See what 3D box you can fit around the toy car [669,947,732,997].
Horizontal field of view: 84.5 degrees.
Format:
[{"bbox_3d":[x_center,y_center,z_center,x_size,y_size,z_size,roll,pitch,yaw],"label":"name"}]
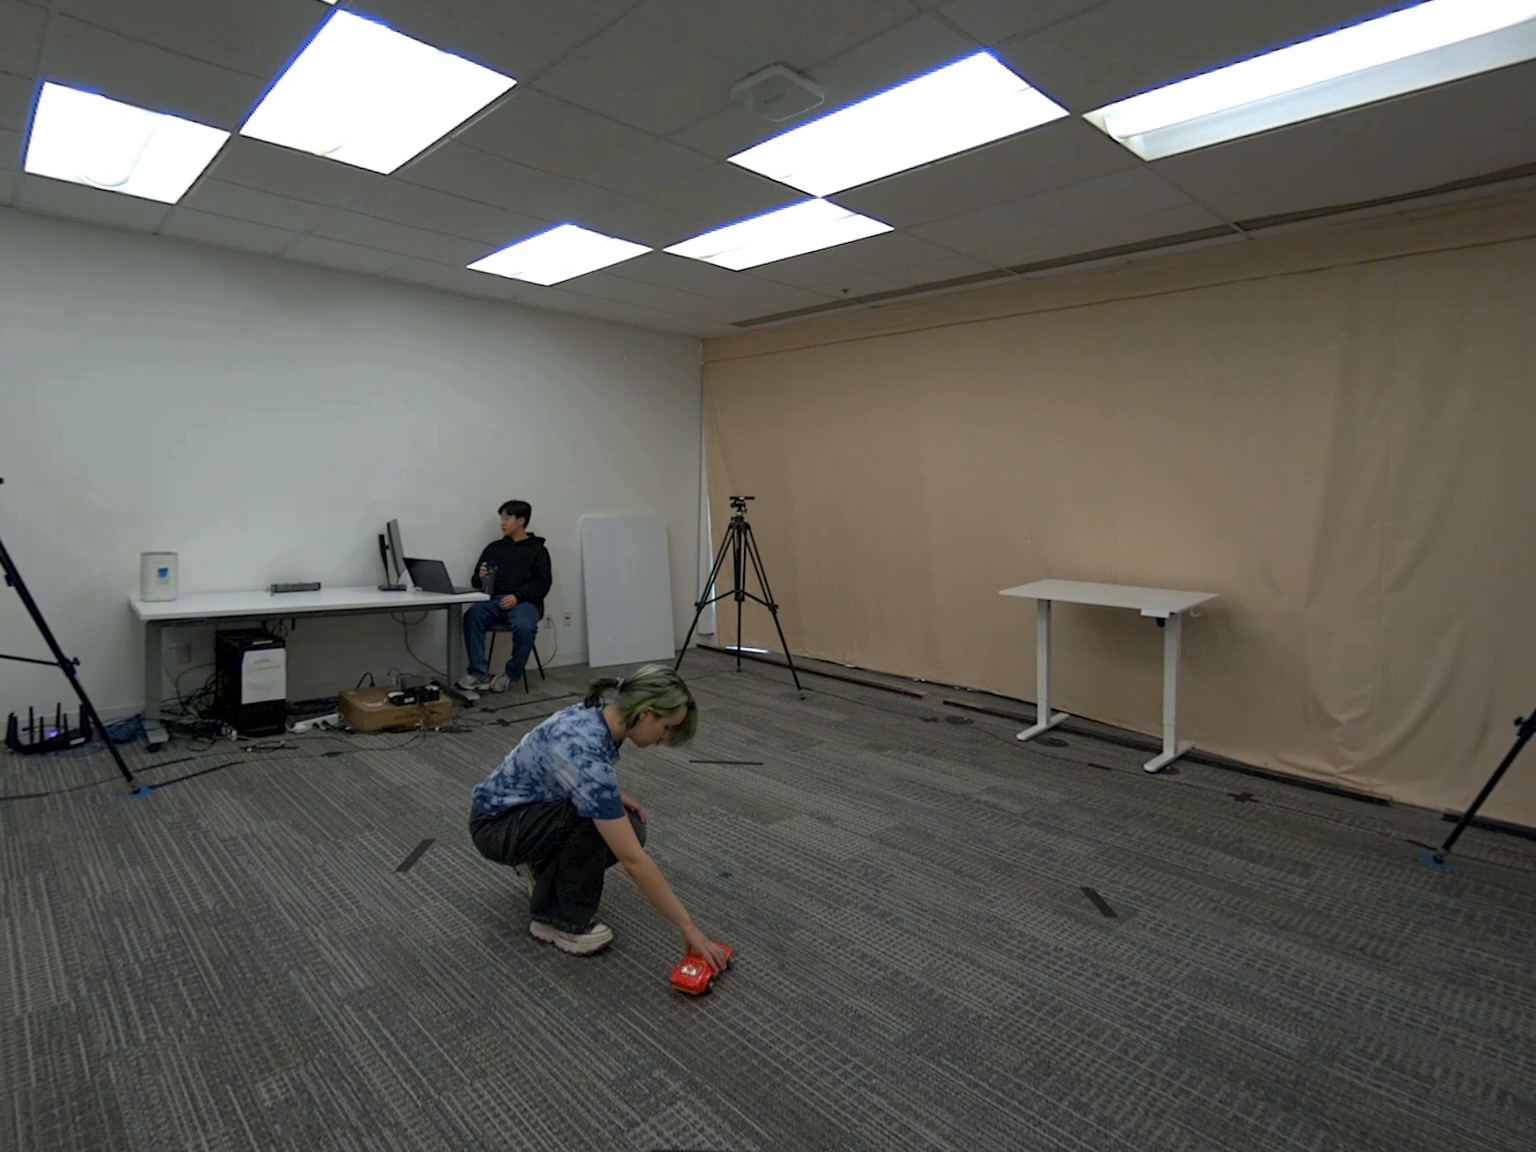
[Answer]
[{"bbox_3d":[-0.206,1.139,2.409,0.132,0.083,0.249,4,-7,21],"label":"toy car"}]
